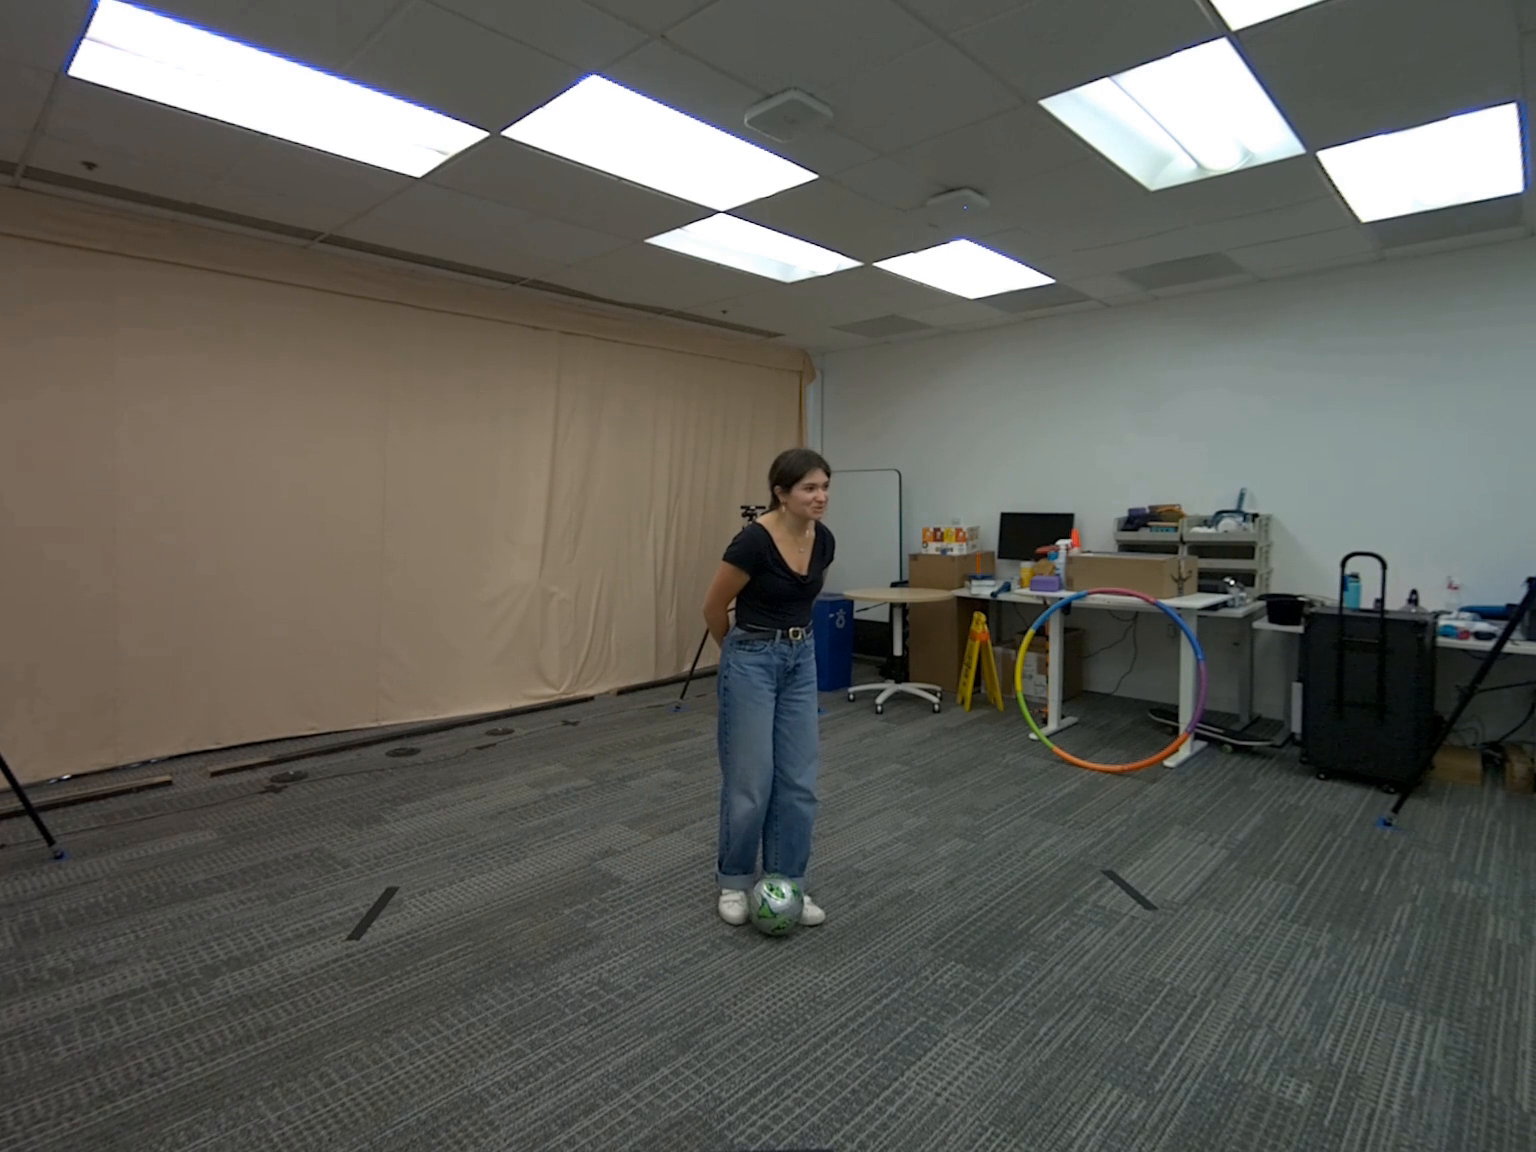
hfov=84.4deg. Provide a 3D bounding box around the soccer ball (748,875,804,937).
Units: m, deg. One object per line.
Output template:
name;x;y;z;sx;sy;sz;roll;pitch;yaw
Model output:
soccer ball;0.021;1.065;2.750;0.187;0.187;0.188;0;4;-2
